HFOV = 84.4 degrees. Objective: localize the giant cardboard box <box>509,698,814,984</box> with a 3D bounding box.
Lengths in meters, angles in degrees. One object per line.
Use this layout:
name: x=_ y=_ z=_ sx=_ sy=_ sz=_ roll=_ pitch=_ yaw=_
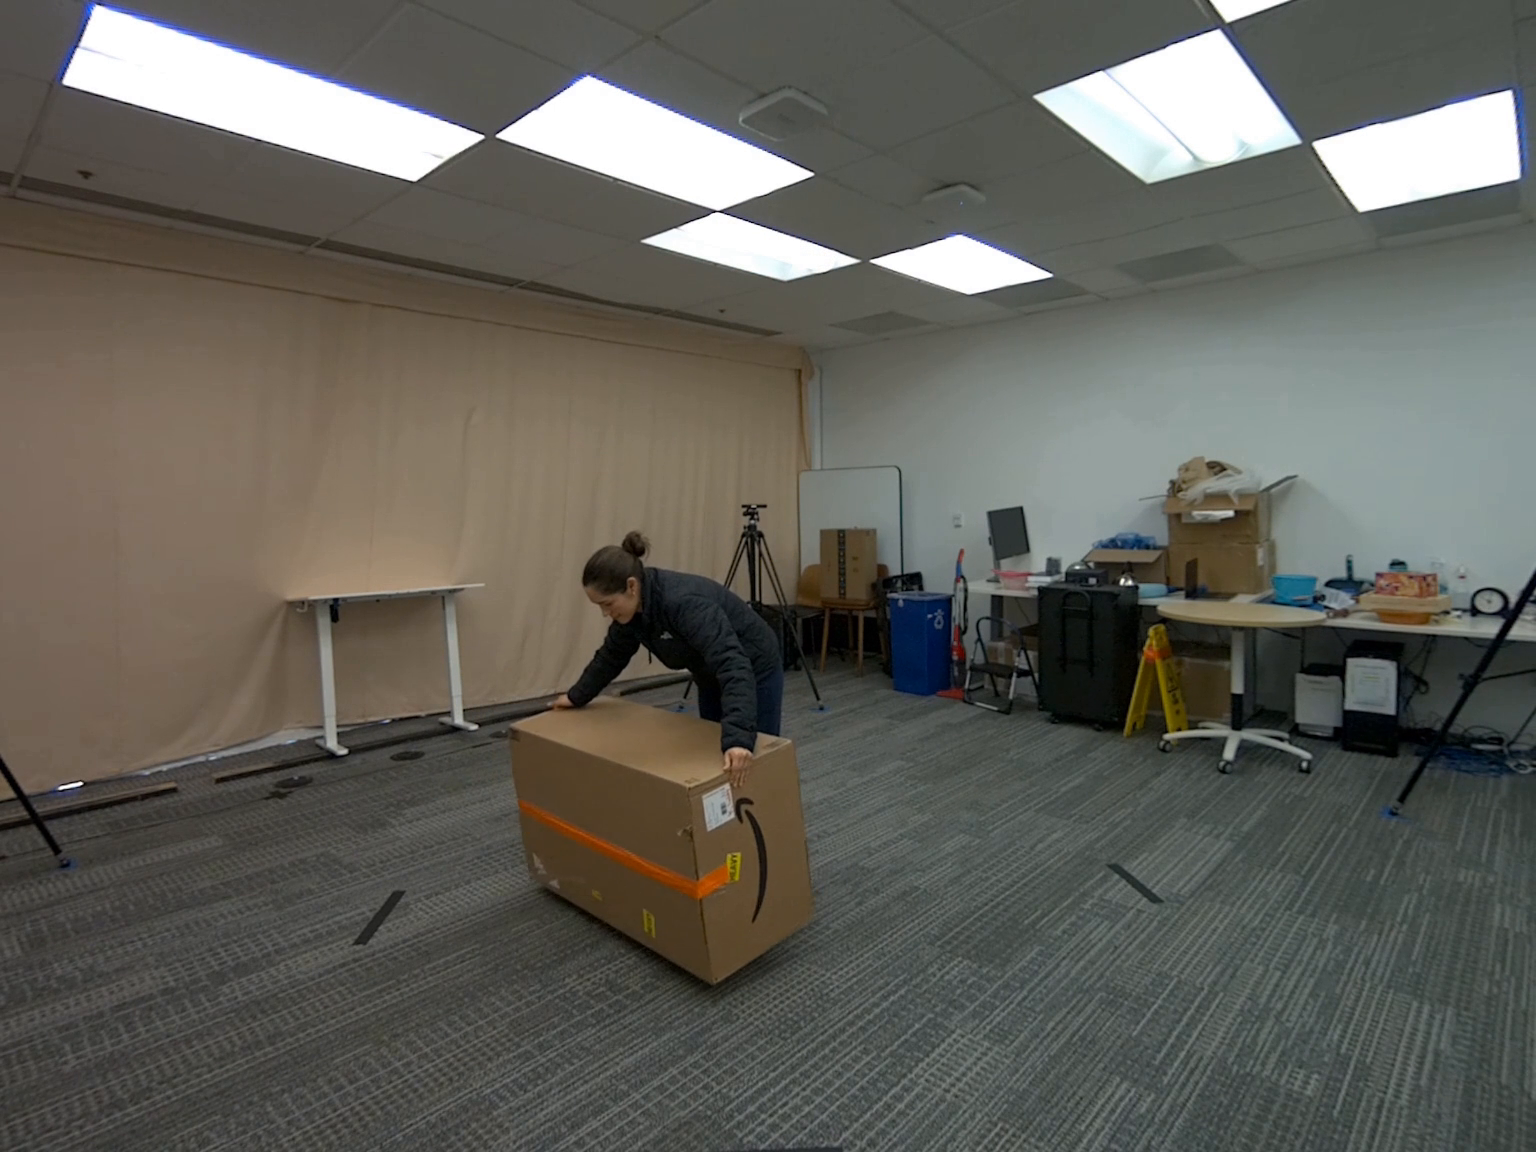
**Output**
giant cardboard box: x=-0.383 y=0.799 z=2.802 sx=0.434 sy=0.581 sz=1.060 roll=-12 pitch=9 yaw=-42
